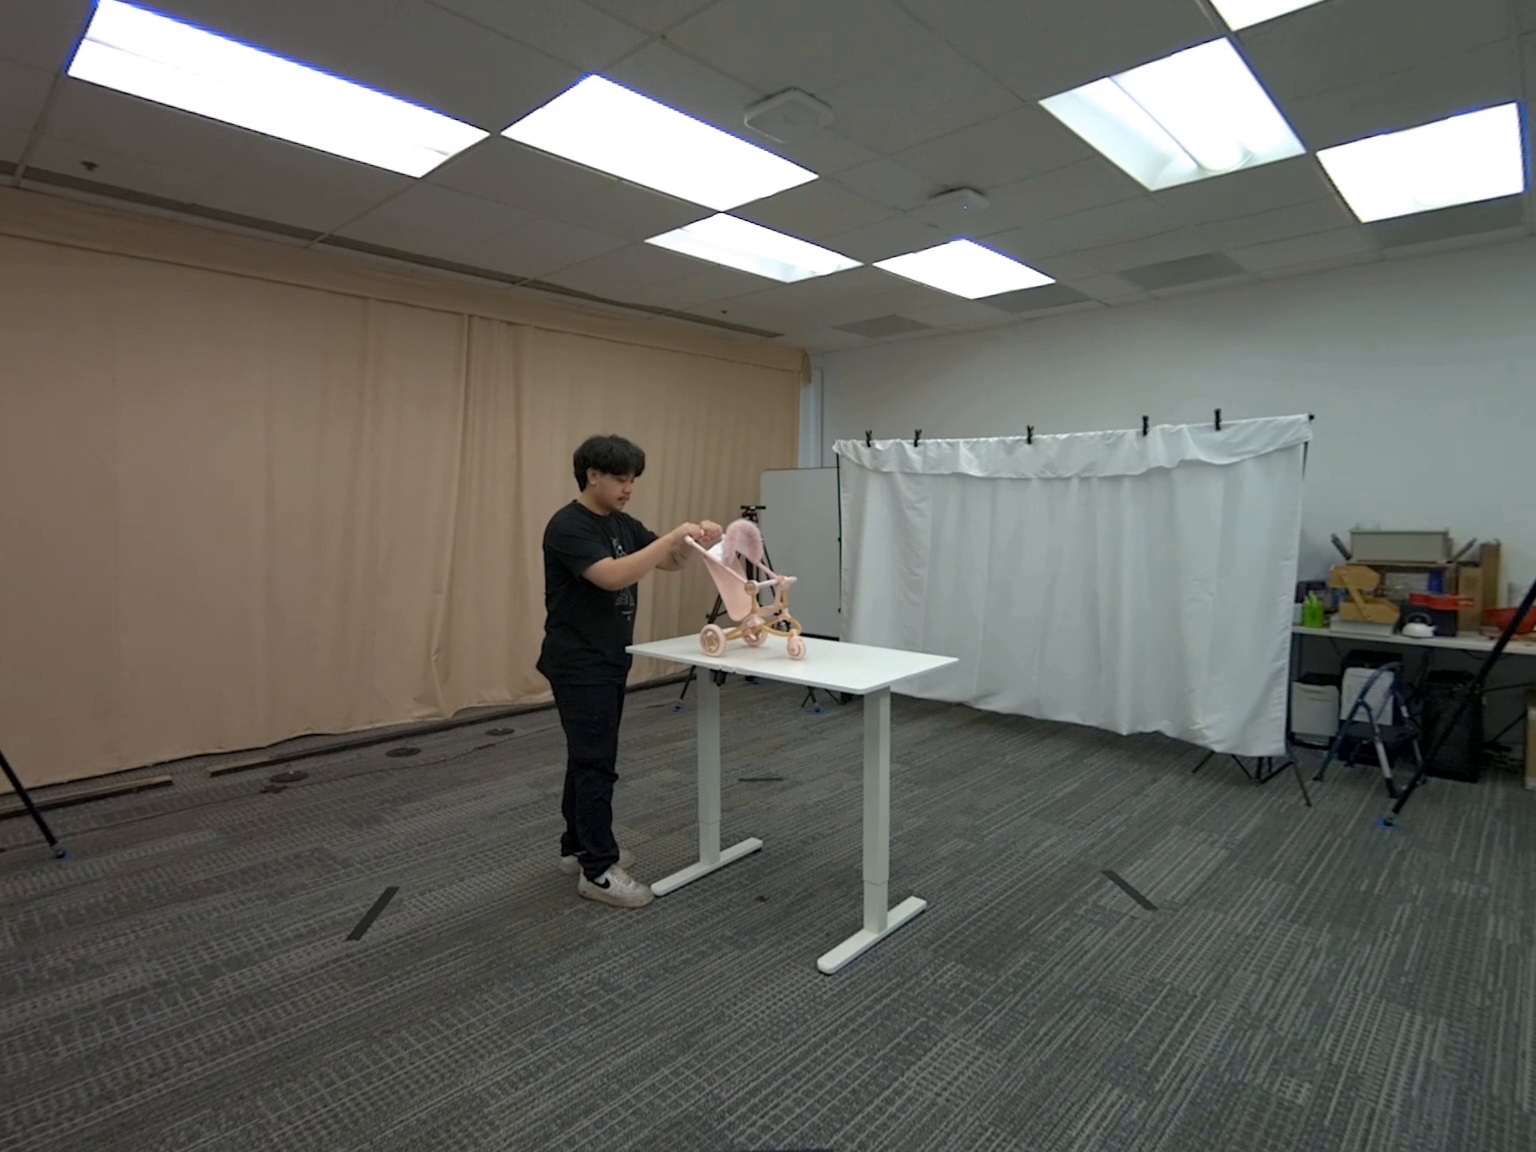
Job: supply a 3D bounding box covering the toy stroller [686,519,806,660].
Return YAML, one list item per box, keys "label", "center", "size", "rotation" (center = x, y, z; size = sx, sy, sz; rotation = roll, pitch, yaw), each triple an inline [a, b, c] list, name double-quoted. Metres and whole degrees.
- label: "toy stroller"
  center: [-0.060, 0.046, 2.889]
  size: [0.350, 0.538, 0.273]
  rotation: [-18, -8, 40]
